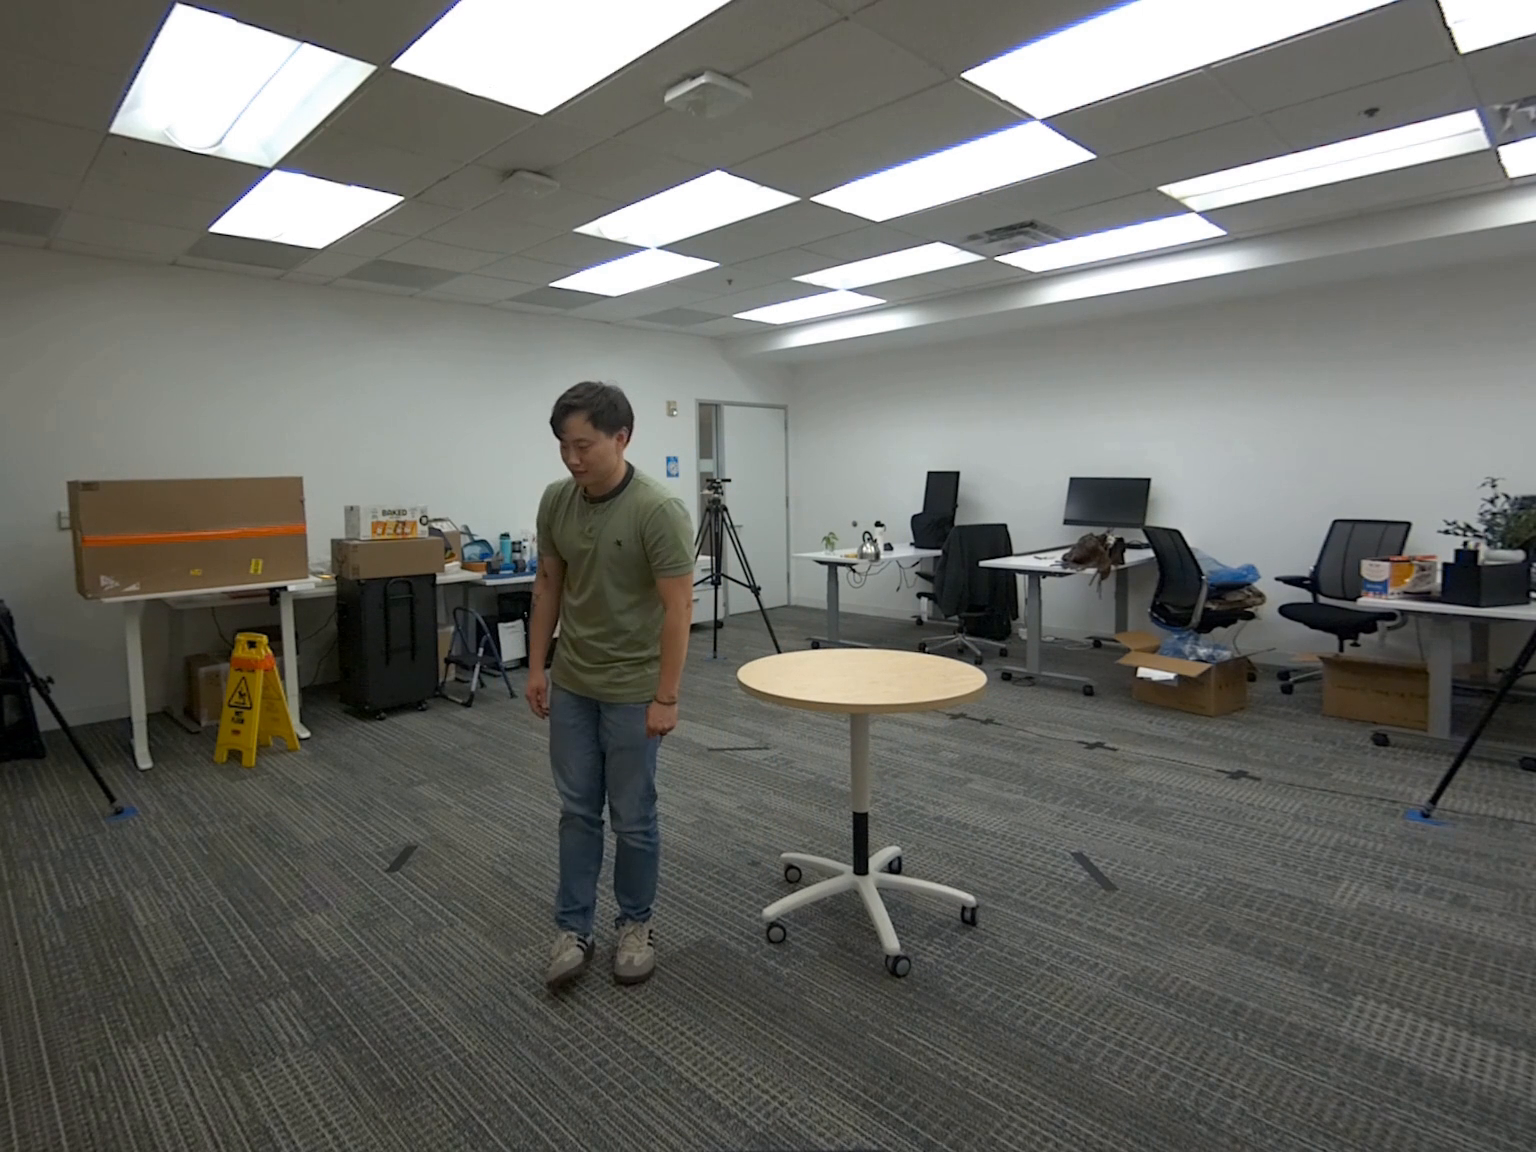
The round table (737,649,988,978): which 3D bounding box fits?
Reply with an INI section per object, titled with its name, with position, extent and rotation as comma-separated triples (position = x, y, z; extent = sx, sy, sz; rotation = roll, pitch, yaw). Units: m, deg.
[round table]
position = 0.303, 0.698, 2.699
extent = 0.763, 0.791, 0.768
rotation = -1, 5, -2
